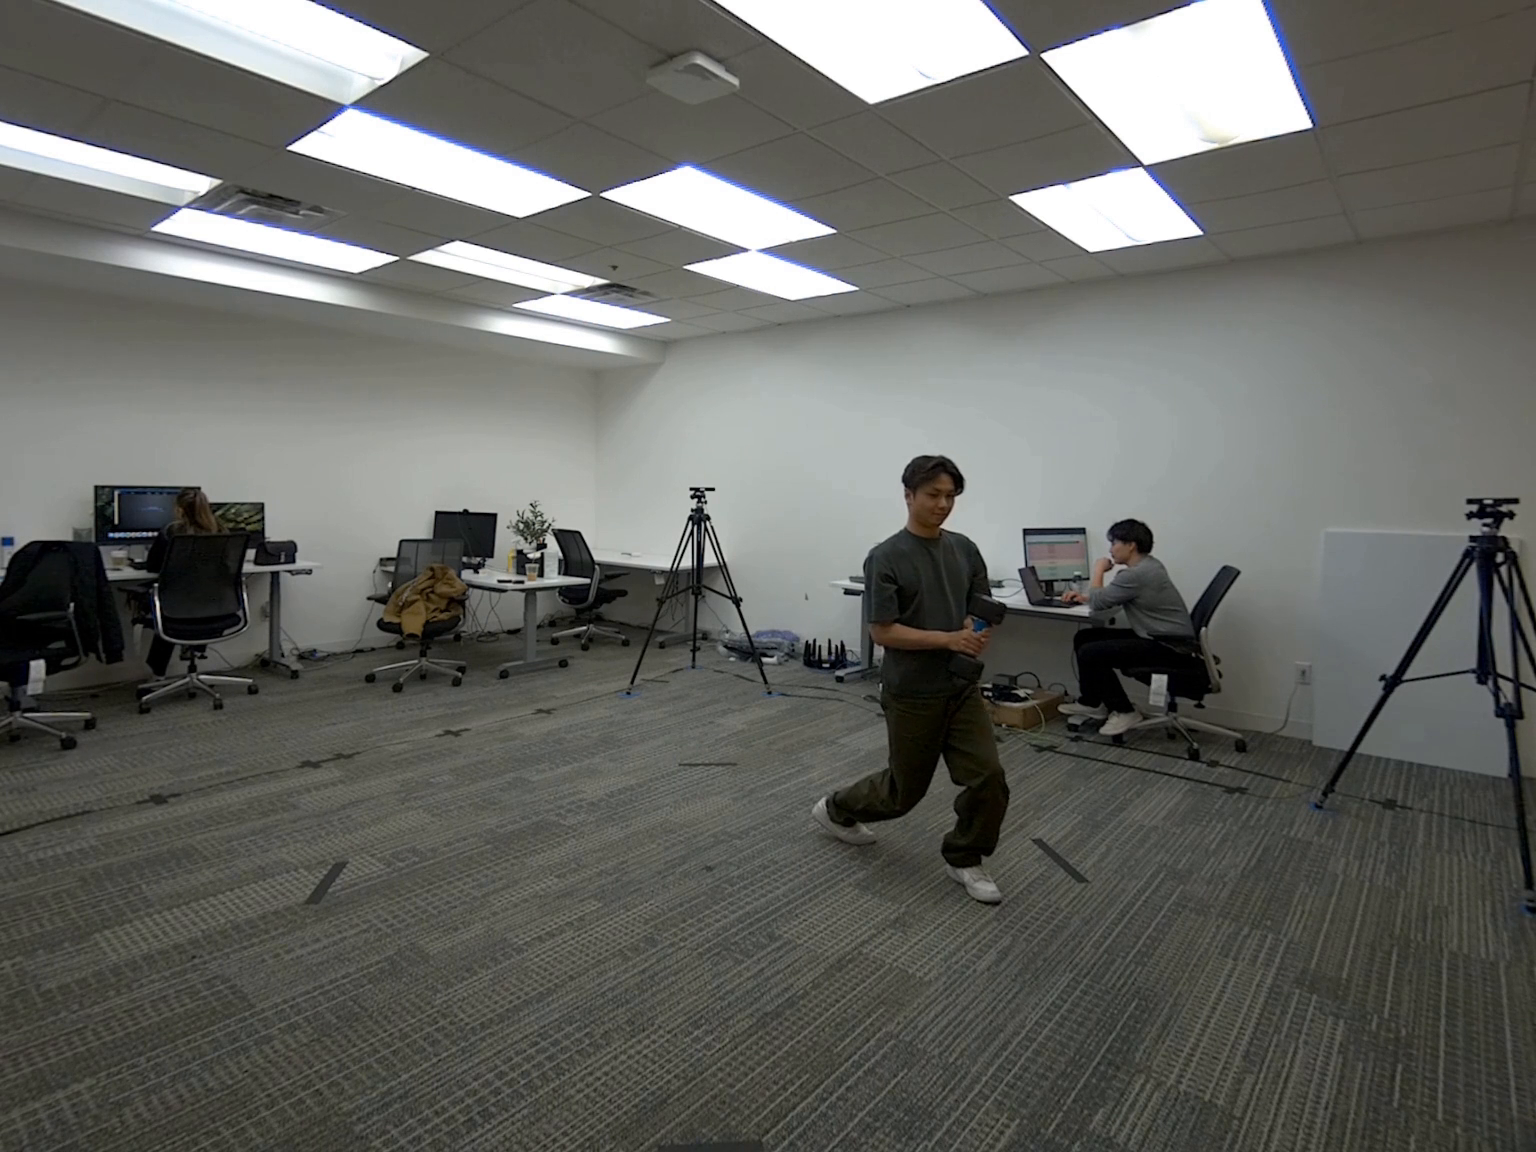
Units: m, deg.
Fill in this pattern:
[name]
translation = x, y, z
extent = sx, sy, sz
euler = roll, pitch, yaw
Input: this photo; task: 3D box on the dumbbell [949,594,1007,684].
[dumbbell]
translation = 0.721, 0.209, 2.953
extent = 0.126, 0.293, 0.106
euler = 22, 1, 18
